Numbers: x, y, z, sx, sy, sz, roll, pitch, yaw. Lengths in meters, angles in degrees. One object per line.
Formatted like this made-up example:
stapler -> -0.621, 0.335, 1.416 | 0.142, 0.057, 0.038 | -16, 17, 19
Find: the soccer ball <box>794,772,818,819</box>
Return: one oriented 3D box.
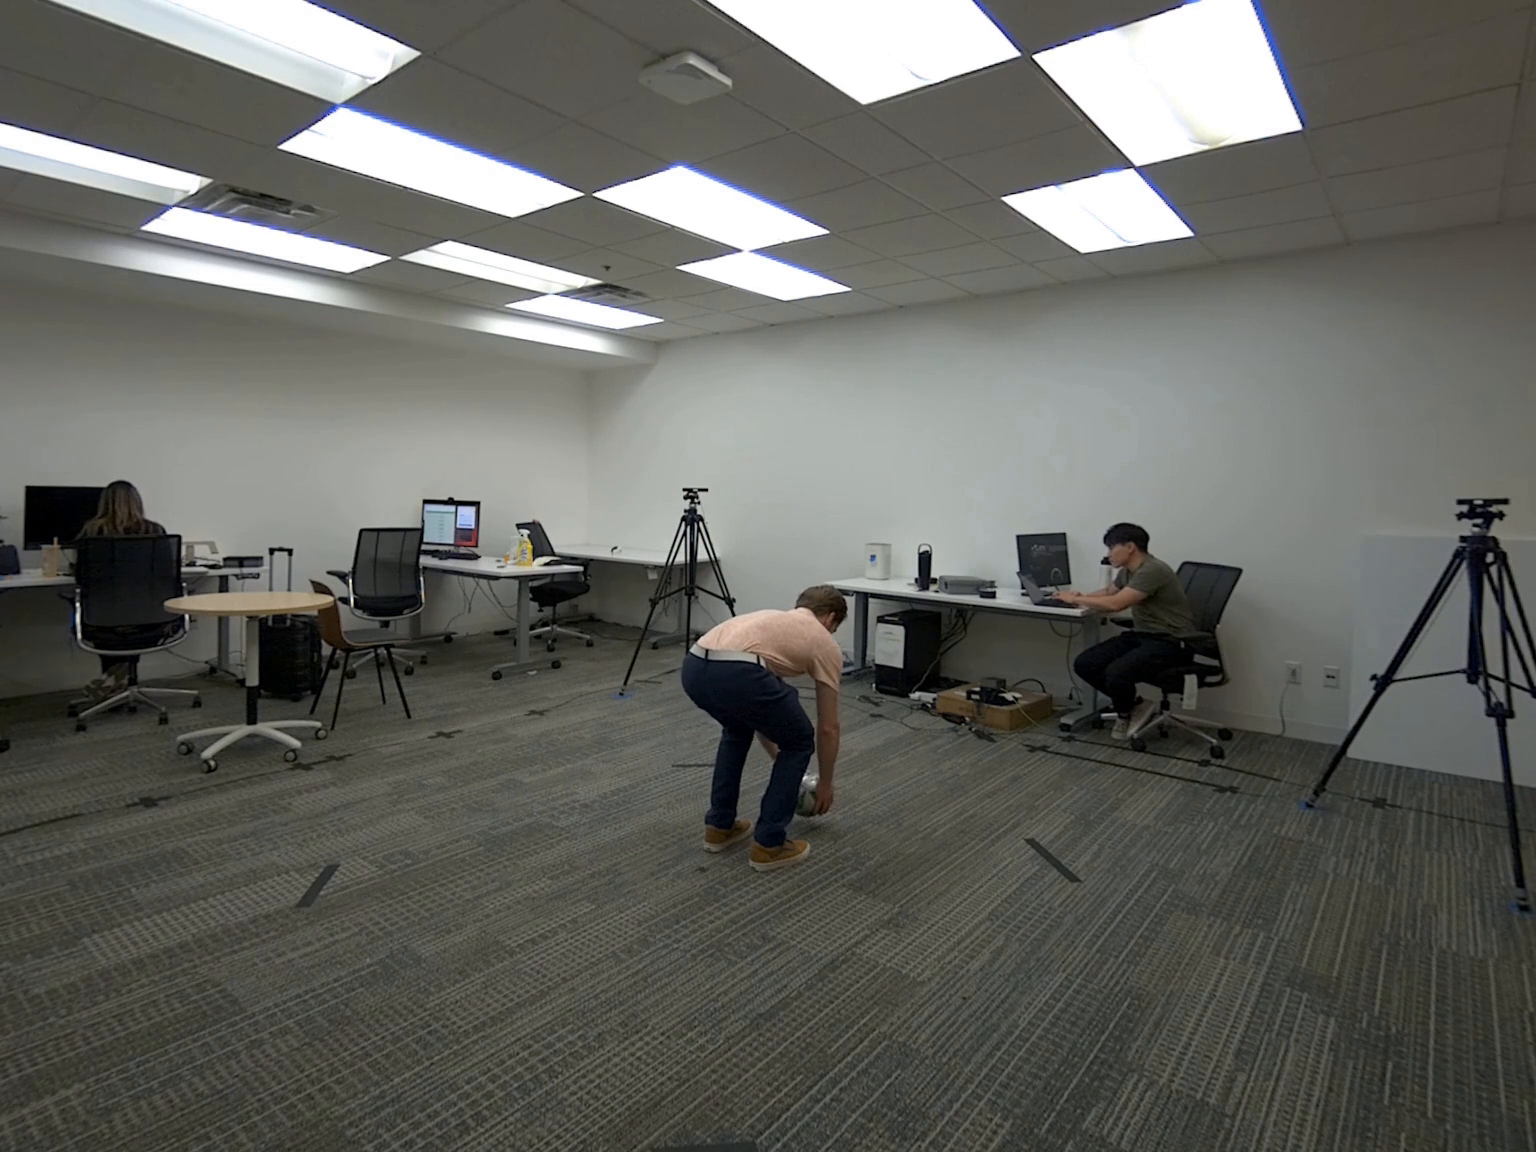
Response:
soccer ball -> 0.158, 0.888, 3.540 | 0.187, 0.187, 0.188 | 1, 4, -2
